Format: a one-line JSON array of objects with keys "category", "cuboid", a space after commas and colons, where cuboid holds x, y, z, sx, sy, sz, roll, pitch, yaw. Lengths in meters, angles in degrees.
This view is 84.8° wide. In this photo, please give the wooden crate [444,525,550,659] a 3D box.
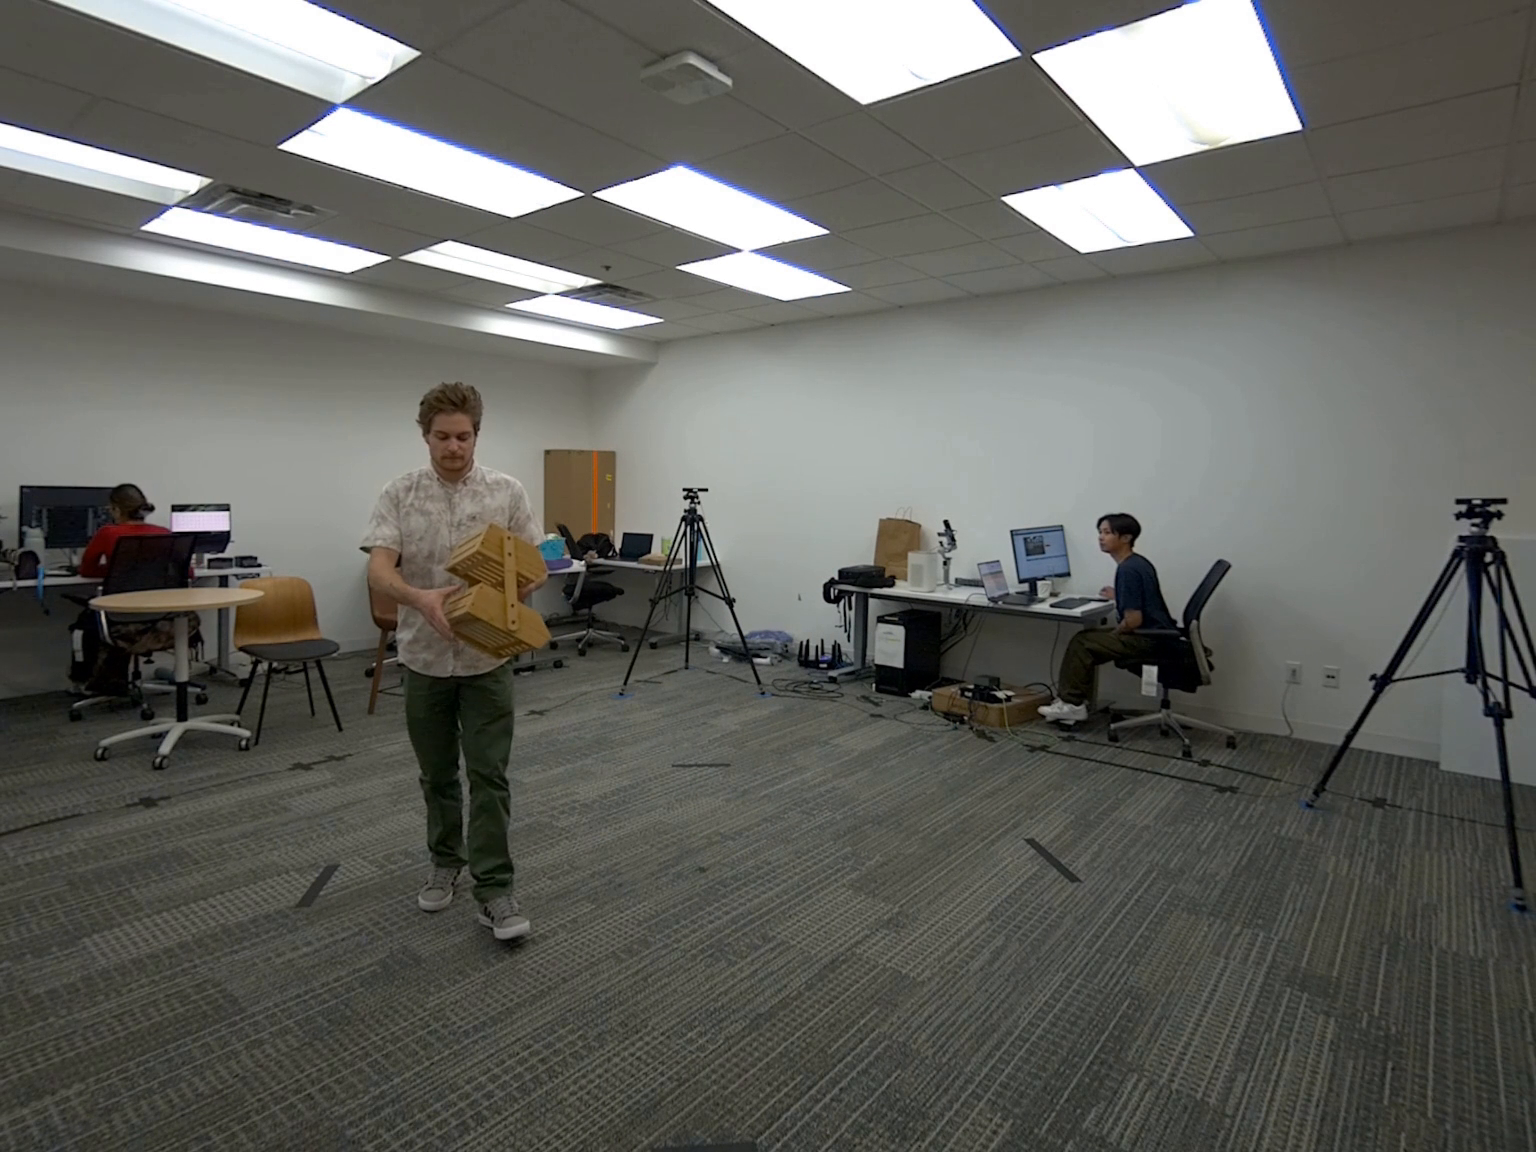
[{"category": "wooden crate", "cuboid": [-0.798, 0.052, 2.511, 0.292, 0.277, 0.331, 33, -29, -27]}]
